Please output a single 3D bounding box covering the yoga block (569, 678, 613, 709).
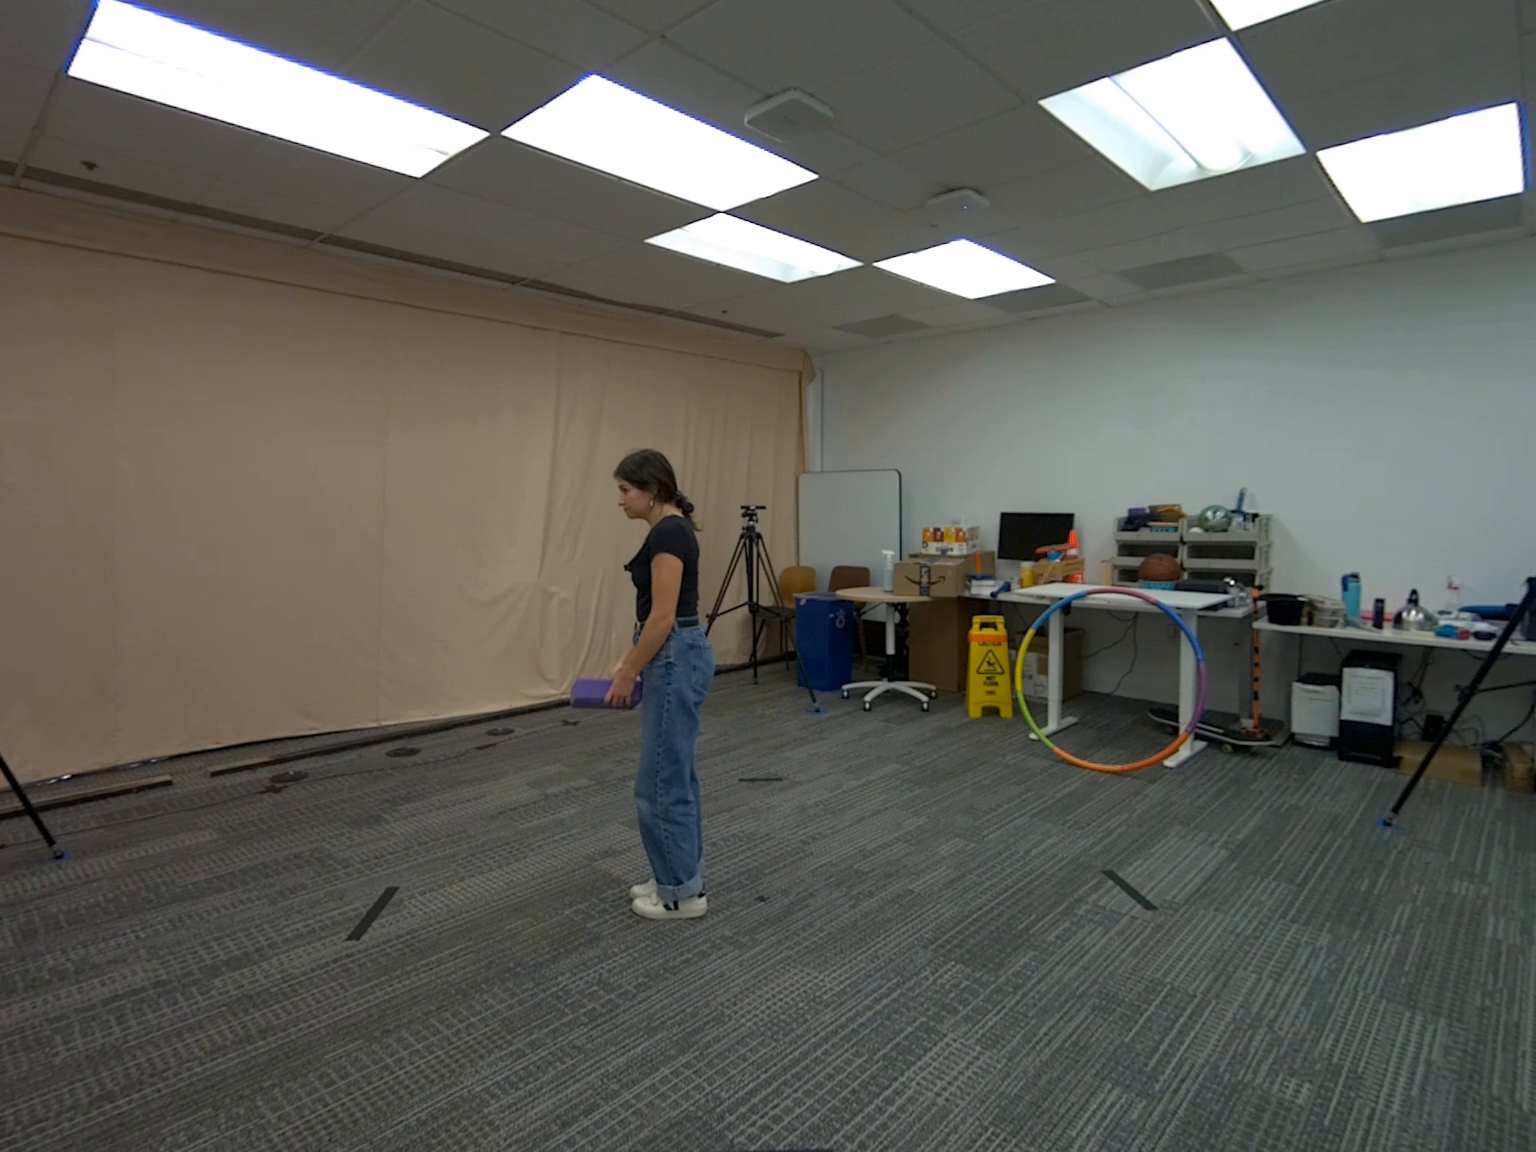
[{"bbox_3d":[-0.559,0.414,2.927,0.225,0.077,0.149,5,-22,-16],"label":"yoga block"}]
